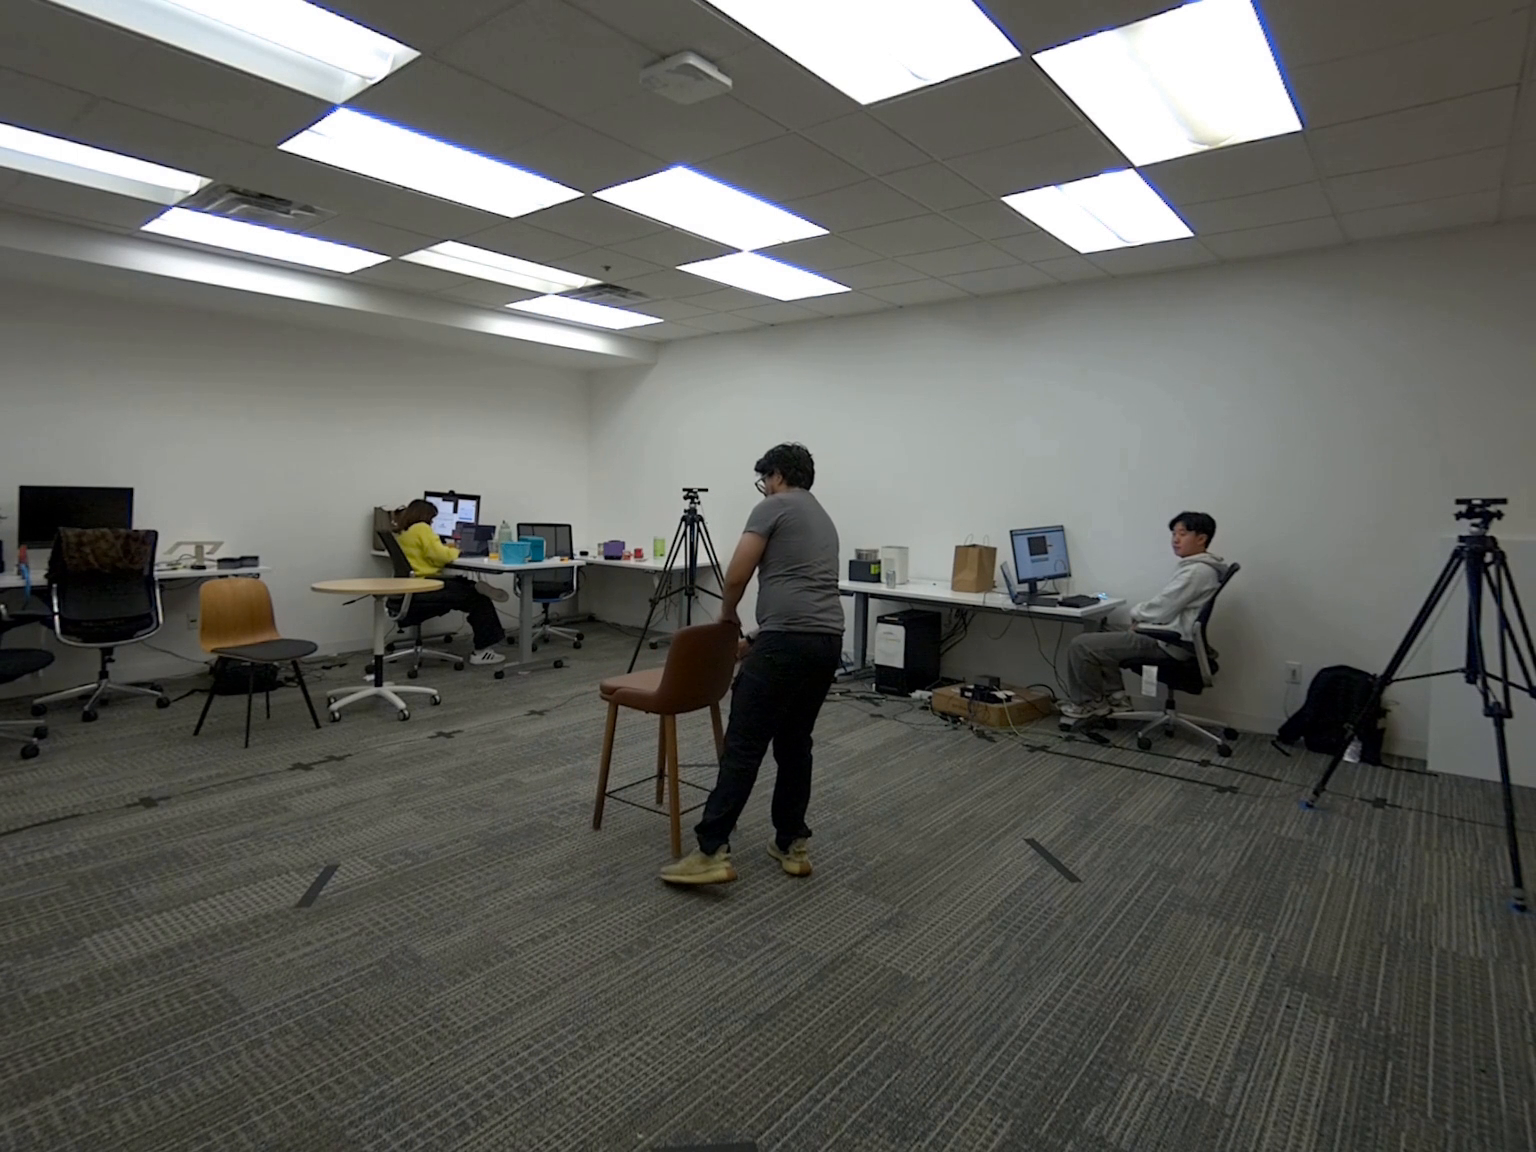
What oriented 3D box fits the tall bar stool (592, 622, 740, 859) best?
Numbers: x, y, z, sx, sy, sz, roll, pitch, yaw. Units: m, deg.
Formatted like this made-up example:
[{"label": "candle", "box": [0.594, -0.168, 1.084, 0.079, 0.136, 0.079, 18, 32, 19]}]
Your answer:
[{"label": "tall bar stool", "box": [-0.413, 0.596, 3.452, 0.483, 0.886, 0.443, 6, 6, 37]}]
